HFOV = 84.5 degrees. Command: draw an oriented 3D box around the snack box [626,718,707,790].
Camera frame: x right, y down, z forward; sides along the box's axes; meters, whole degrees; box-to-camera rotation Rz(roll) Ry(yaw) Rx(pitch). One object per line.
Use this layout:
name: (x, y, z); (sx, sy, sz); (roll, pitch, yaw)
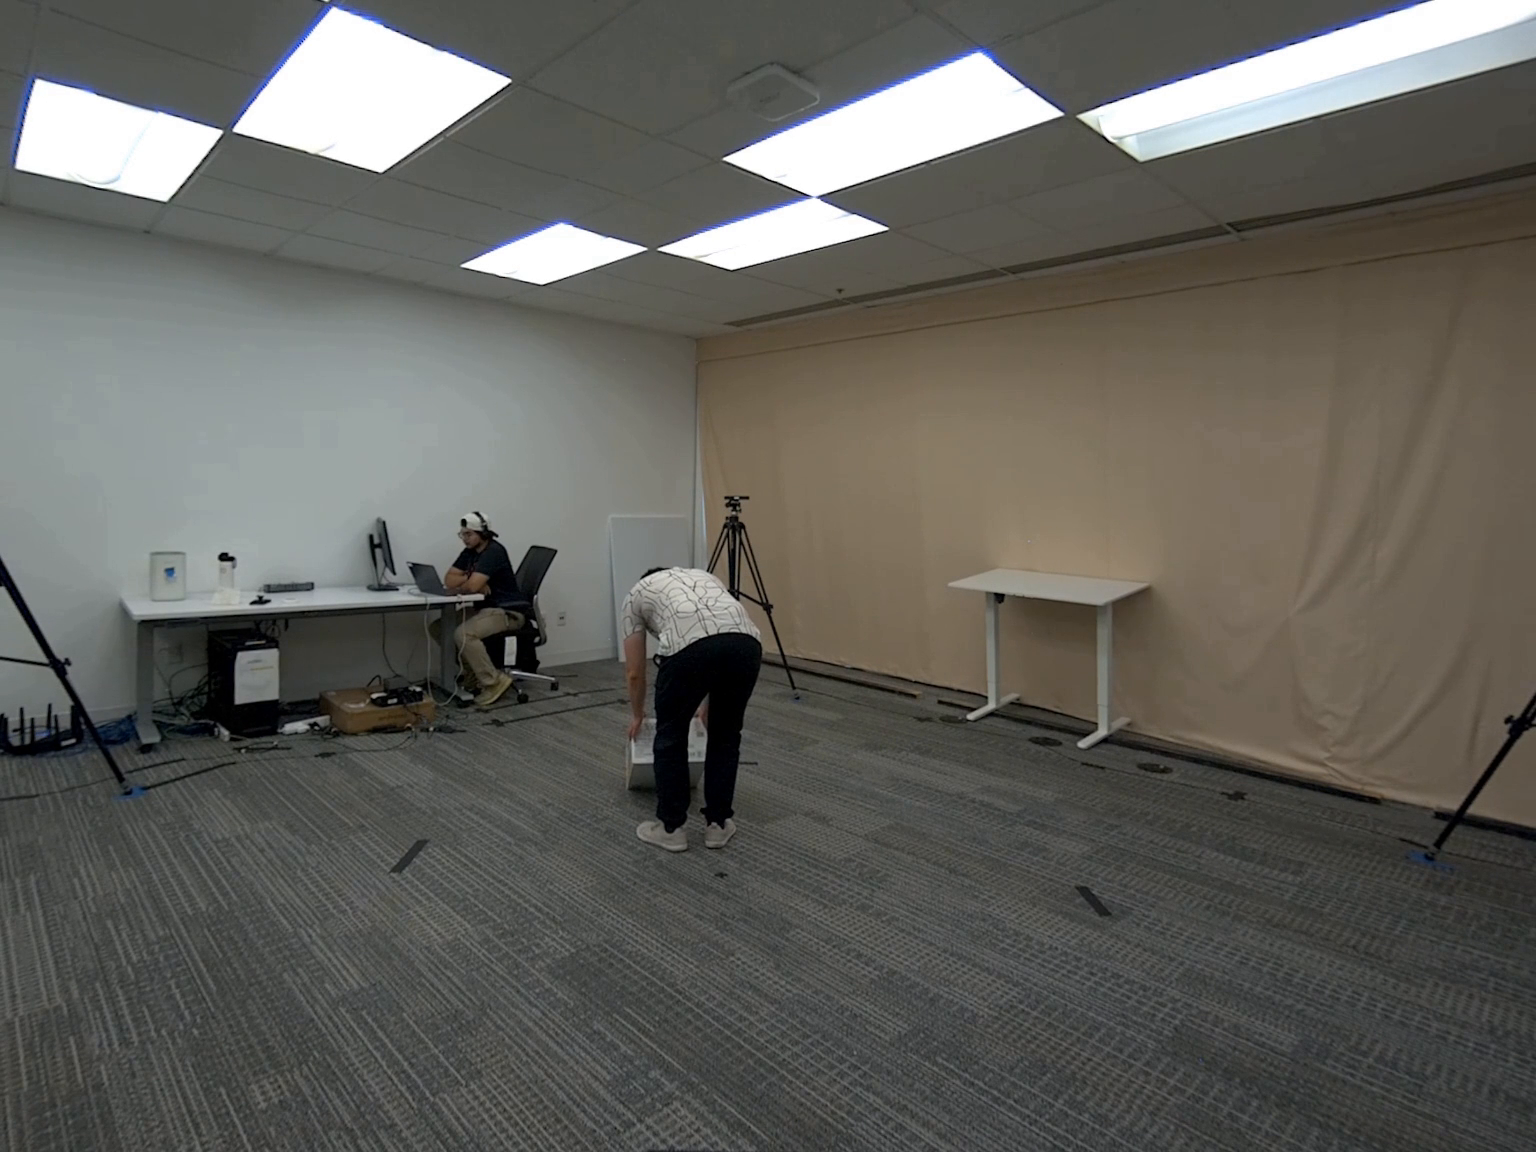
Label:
snack box: (-0.487, 0.833, 3.919); (0.337, 0.210, 0.400); (1, -30, -11)
